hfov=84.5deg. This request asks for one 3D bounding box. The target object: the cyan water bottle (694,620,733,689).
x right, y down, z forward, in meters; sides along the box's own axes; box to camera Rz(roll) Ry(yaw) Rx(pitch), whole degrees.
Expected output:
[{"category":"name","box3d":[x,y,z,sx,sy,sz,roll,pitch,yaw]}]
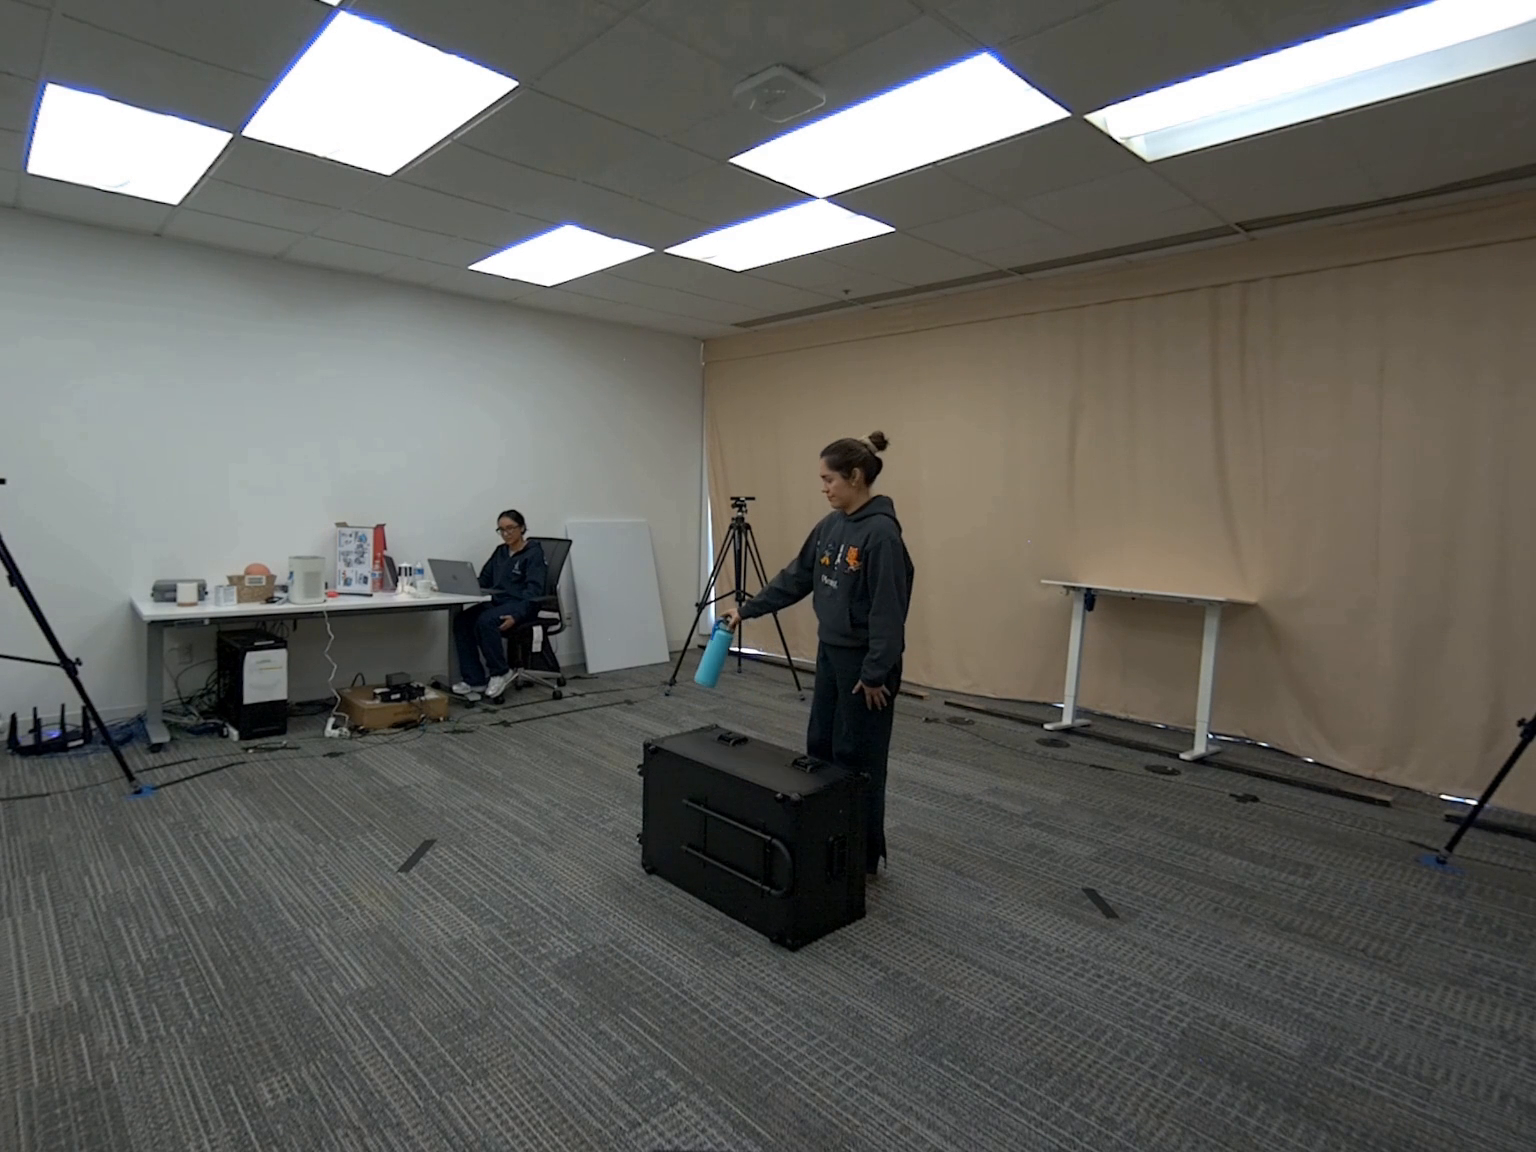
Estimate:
[{"category":"cyan water bottle","box3d":[-0.197,0.301,3.344,0.092,0.283,0.093,19,4,-3]}]
